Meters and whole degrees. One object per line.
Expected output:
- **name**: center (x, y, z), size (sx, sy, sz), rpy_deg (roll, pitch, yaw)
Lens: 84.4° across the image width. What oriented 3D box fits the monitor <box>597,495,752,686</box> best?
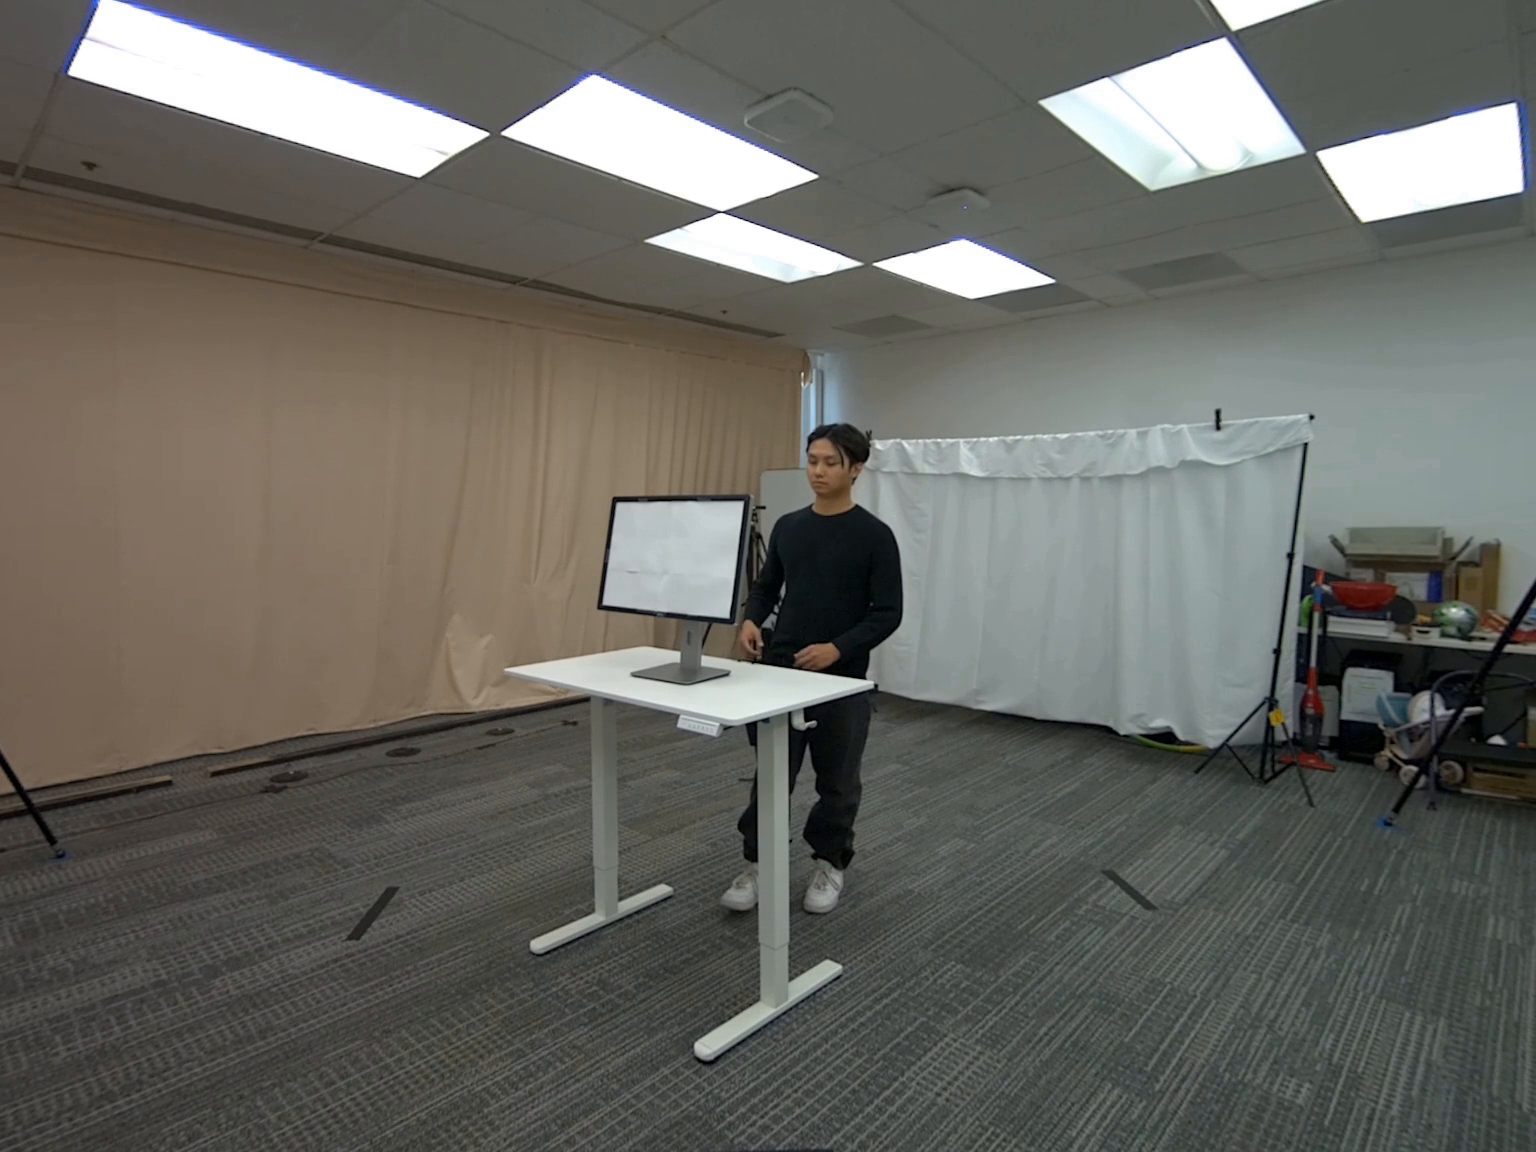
- **monitor**: center (-0.266, 0.032, 2.518), size (0.547, 0.513, 0.170), rpy_deg (5, 11, 37)
